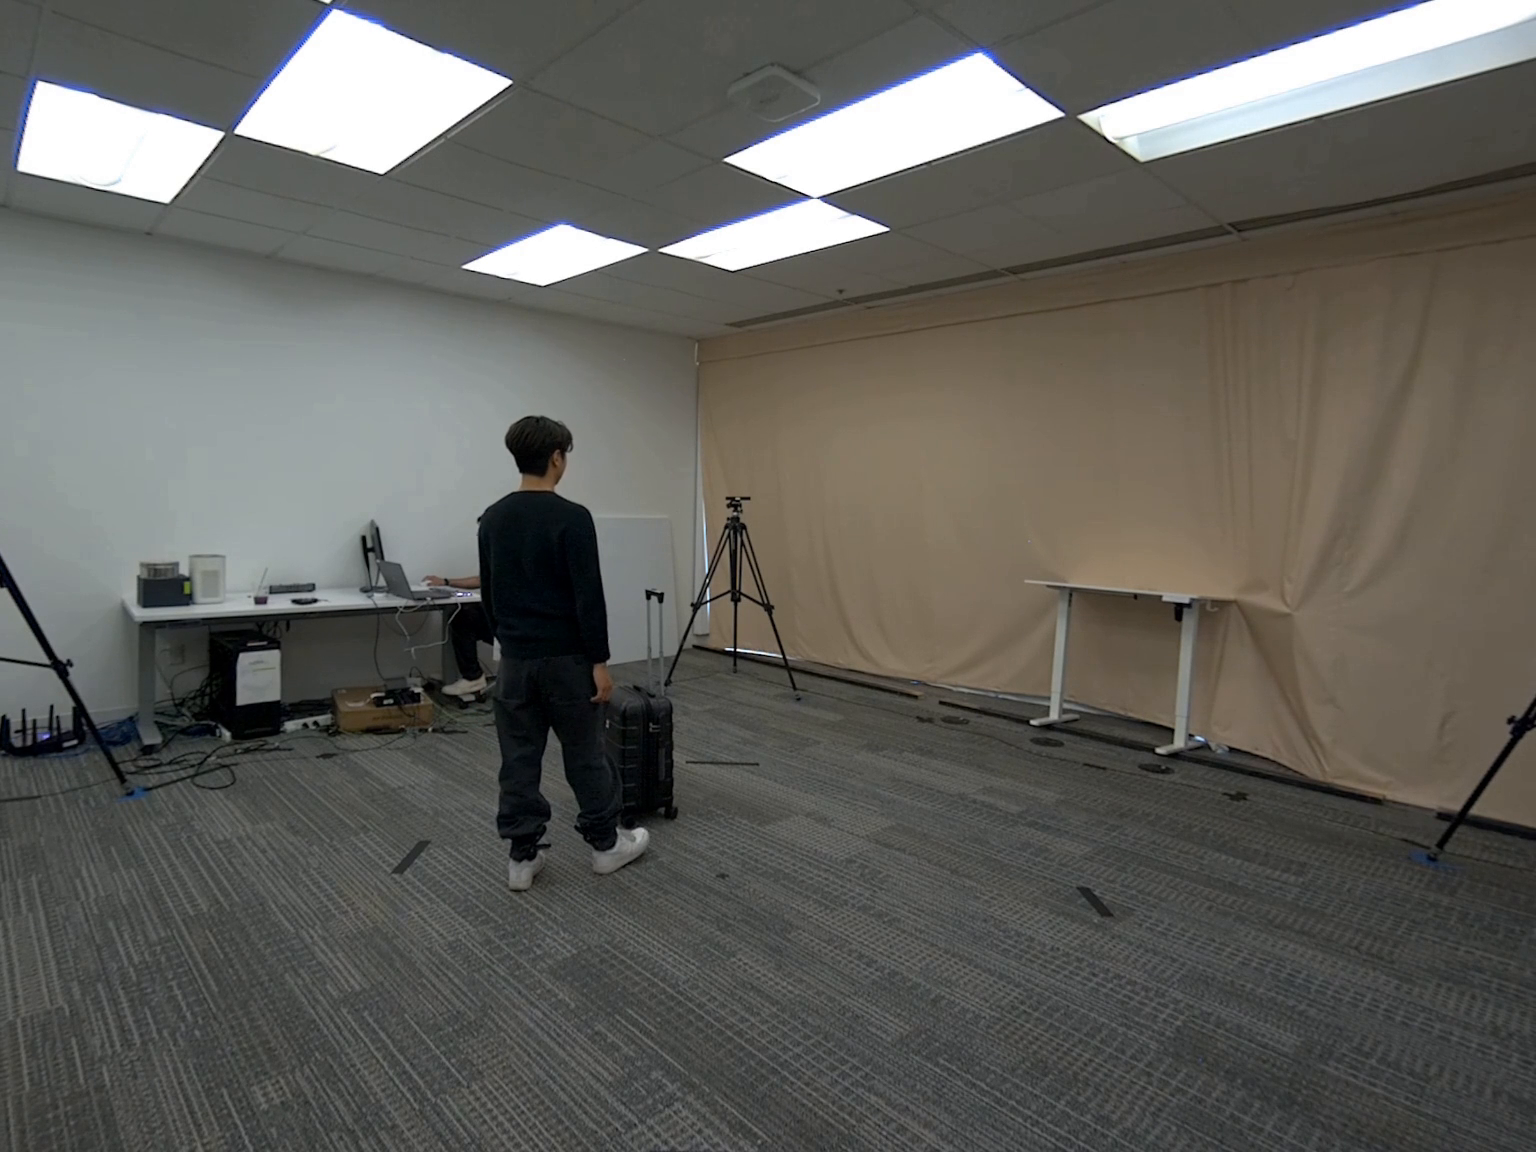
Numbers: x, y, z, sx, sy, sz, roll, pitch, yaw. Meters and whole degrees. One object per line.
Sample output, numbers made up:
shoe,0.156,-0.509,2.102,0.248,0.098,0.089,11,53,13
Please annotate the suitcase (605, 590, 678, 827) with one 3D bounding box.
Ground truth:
suitcase,-0.595,0.569,3.685,0.252,0.975,0.392,-4,5,-28
